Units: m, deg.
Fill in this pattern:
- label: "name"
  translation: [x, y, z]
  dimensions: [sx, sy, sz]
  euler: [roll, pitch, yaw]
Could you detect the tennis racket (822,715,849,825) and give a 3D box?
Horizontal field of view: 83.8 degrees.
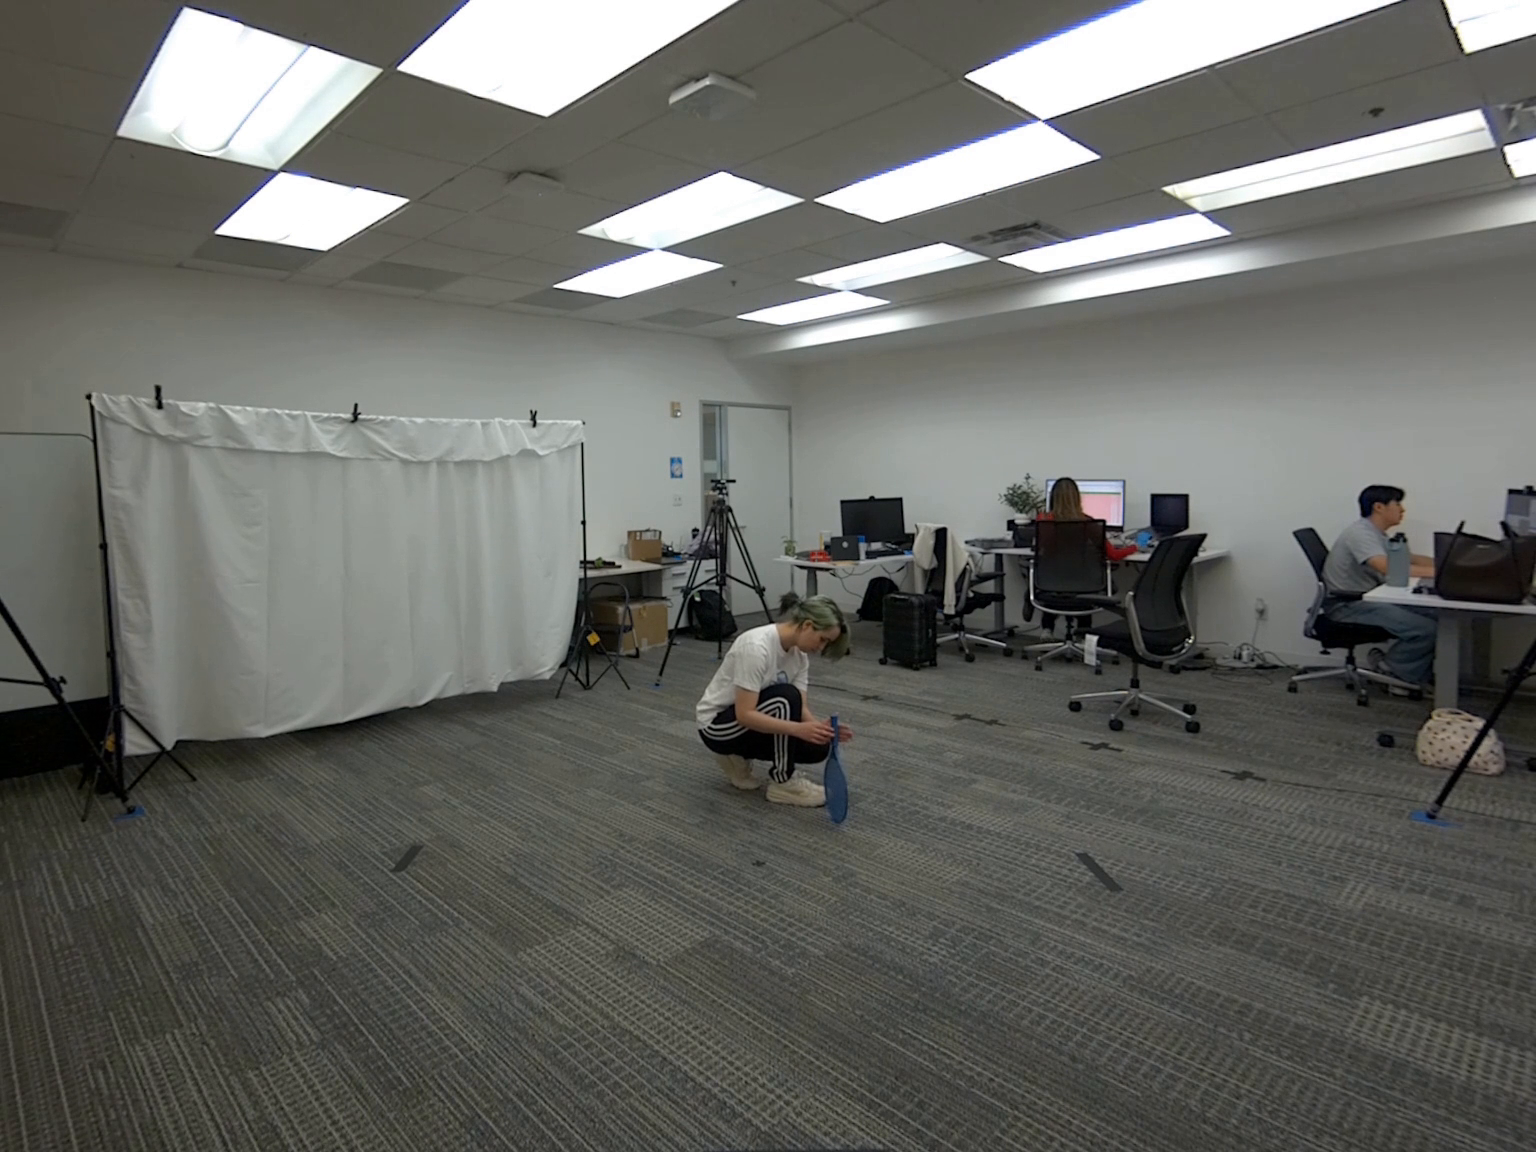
- label: "tennis racket"
  translation: [0.273, 0.786, 3.473]
  dimensions: [0.031, 0.433, 0.217]
  euler: [-2, 1, -17]
